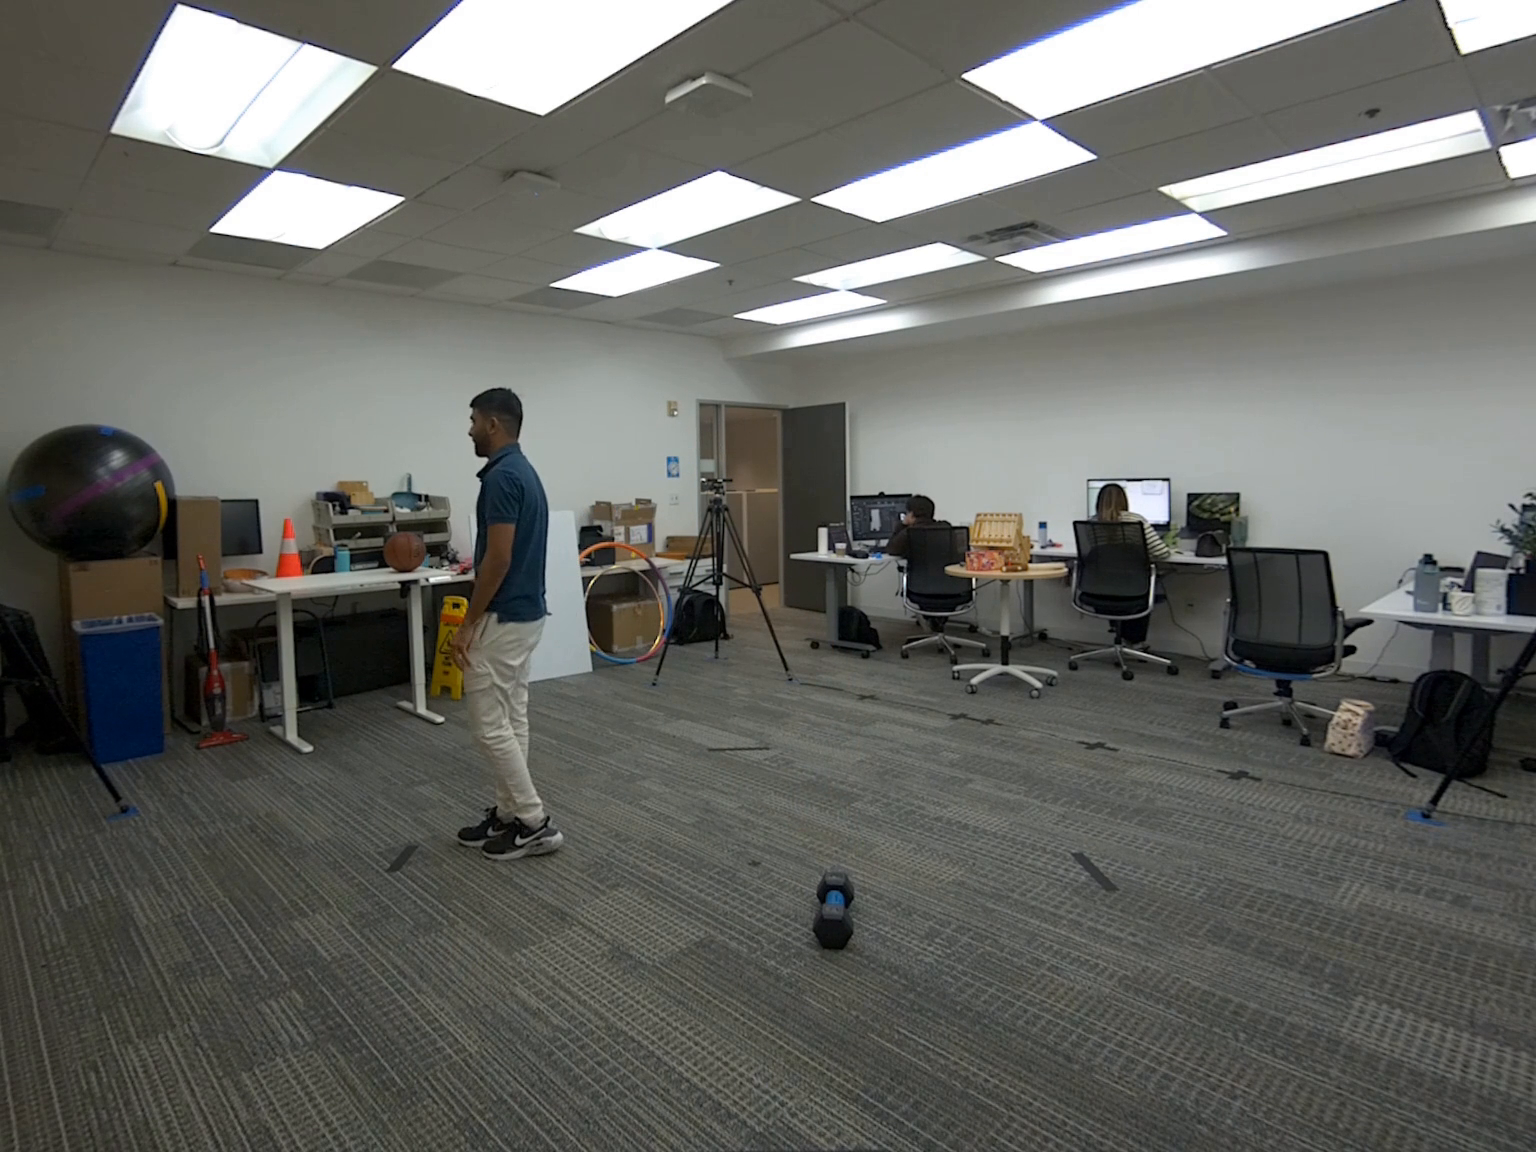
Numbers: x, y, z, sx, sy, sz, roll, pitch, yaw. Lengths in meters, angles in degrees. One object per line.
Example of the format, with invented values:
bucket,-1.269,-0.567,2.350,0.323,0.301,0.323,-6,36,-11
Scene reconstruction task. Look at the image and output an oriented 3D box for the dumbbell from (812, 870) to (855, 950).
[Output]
dumbbell,0.217,1.036,2.663,0.124,0.108,0.292,0,6,7
